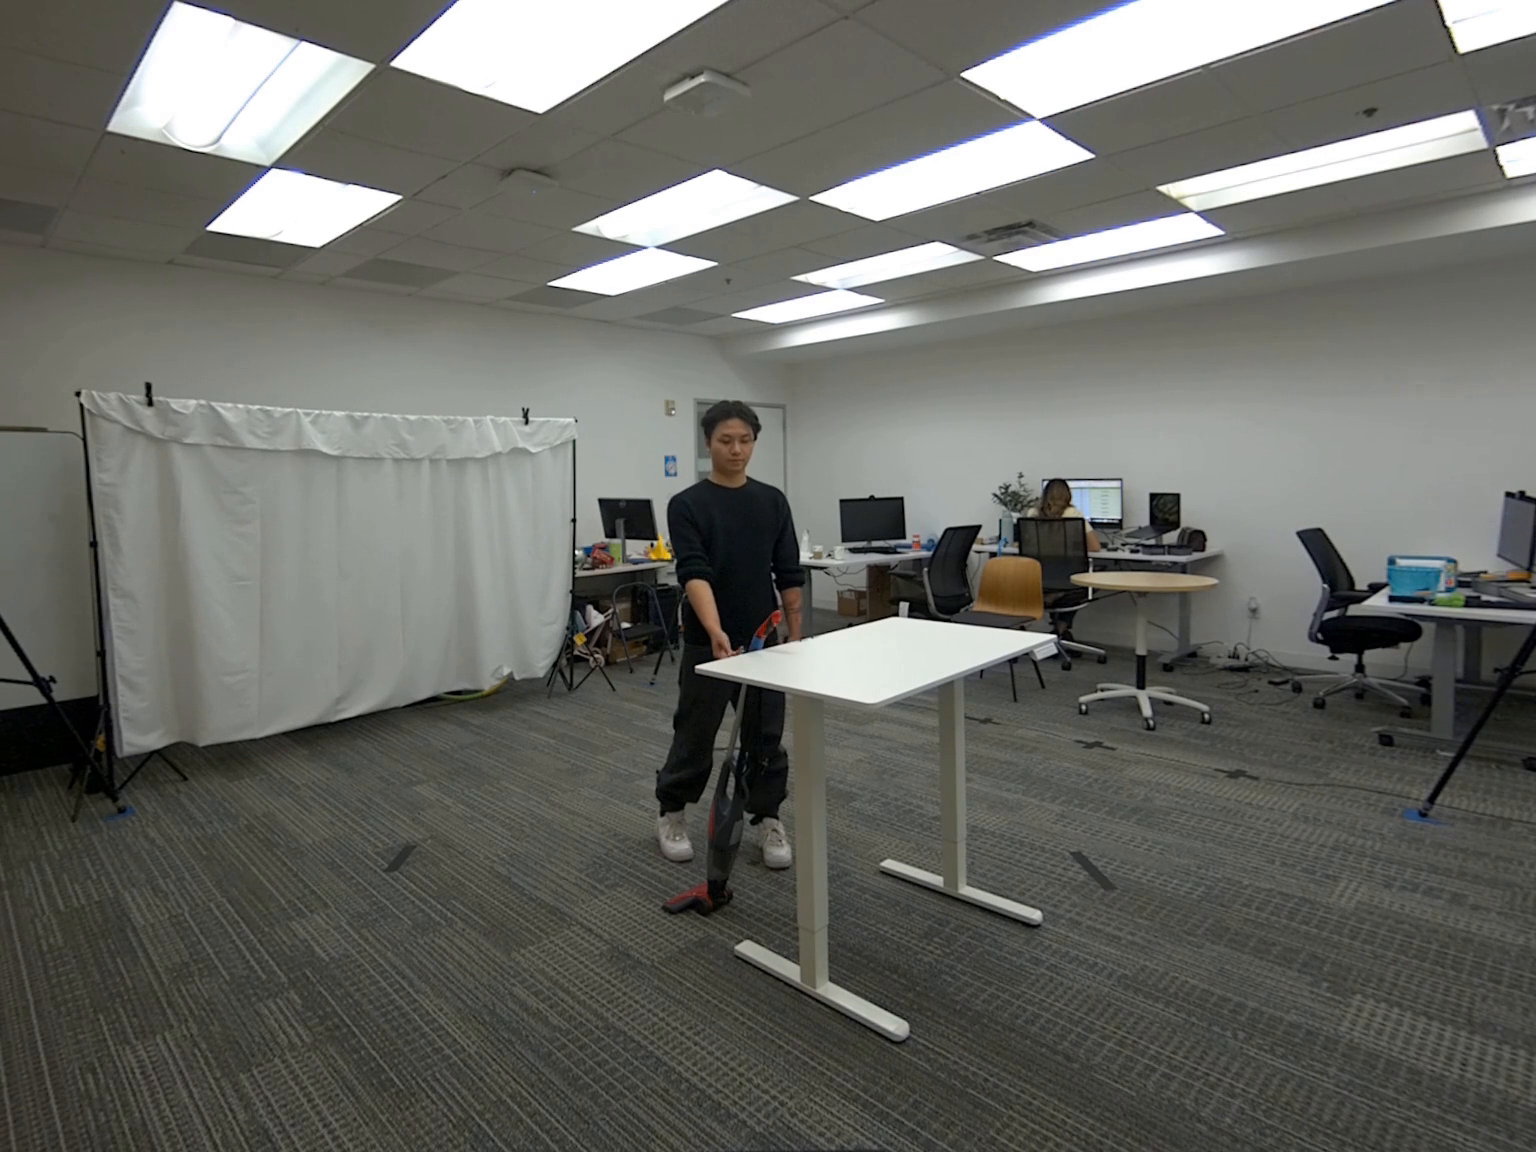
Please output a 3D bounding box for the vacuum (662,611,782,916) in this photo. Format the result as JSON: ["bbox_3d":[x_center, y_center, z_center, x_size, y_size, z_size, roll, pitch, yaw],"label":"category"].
[{"bbox_3d":[-0.091,0.604,2.662,0.149,1.037,0.246,29,24,36],"label":"vacuum"}]
